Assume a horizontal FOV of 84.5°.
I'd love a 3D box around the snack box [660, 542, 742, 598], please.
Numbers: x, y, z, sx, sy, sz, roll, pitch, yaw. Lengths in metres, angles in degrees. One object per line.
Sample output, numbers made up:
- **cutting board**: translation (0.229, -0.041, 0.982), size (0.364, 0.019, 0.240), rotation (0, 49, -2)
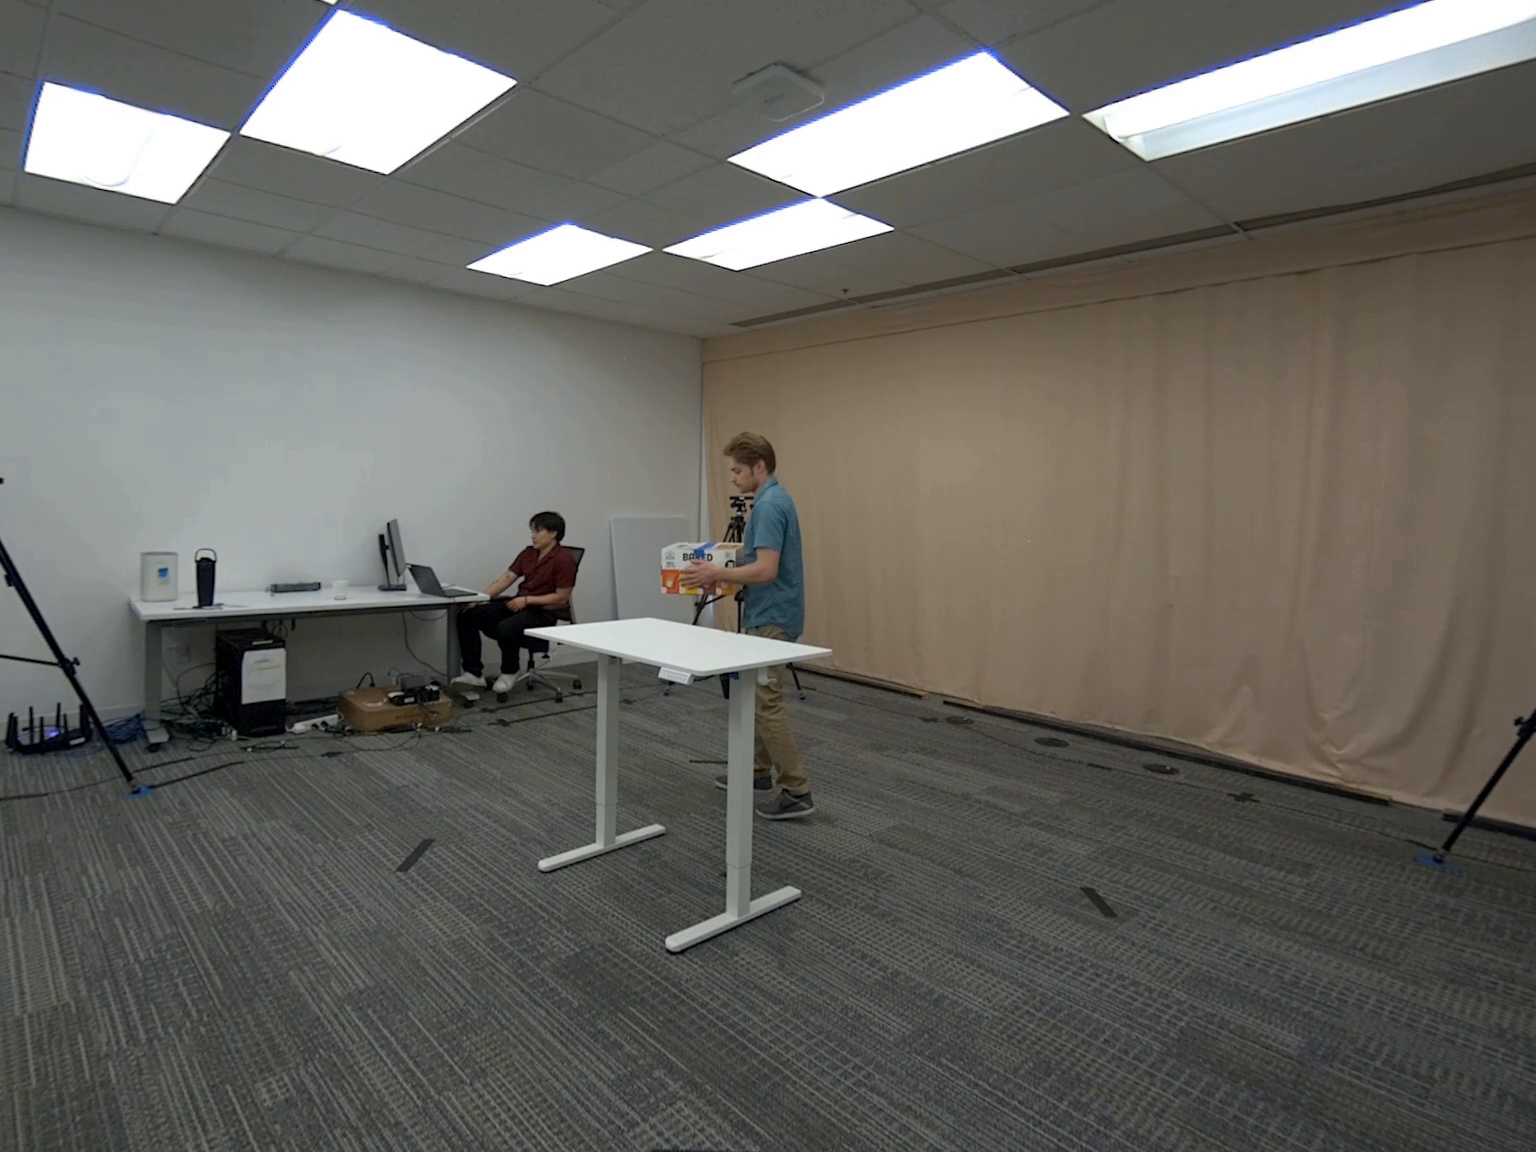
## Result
- **snack box**: translation (-0.298, -0.039, 3.961), size (0.342, 0.205, 0.404), rotation (1, 6, 7)
